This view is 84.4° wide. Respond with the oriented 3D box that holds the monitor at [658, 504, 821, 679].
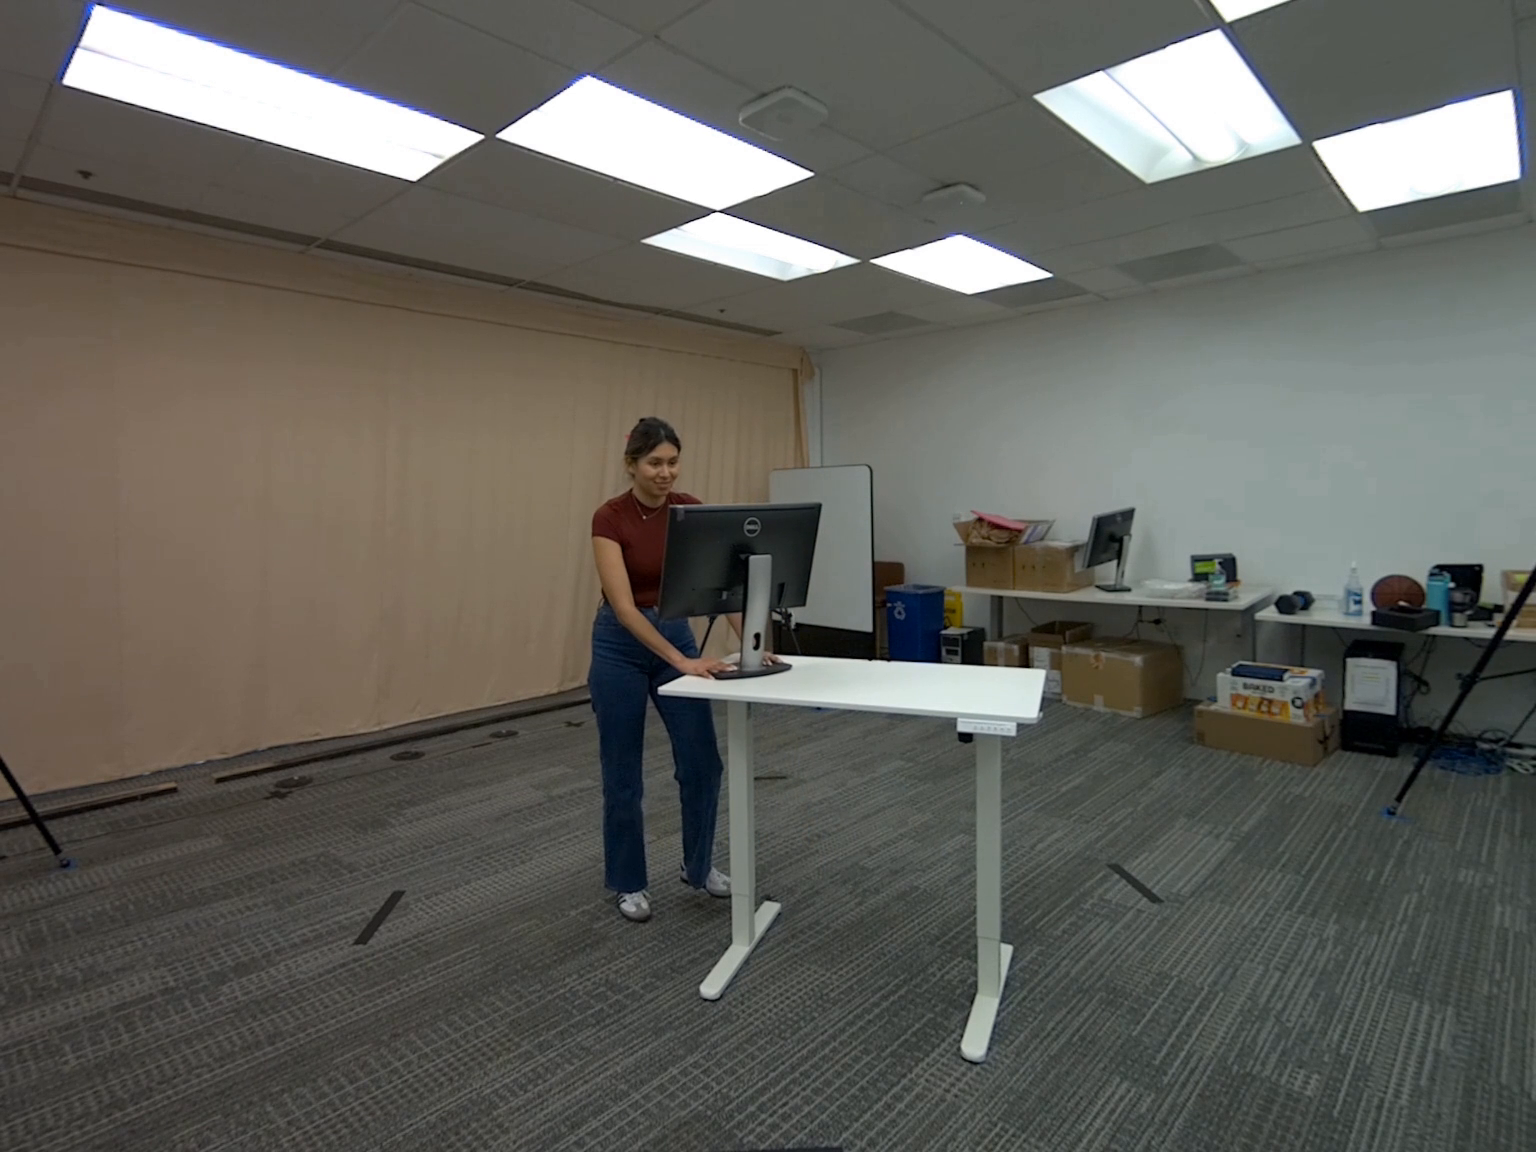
[{"bbox_3d":[-0.061,0.045,2.557,0.524,0.520,0.193,-4,7,-33],"label":"monitor"}]
